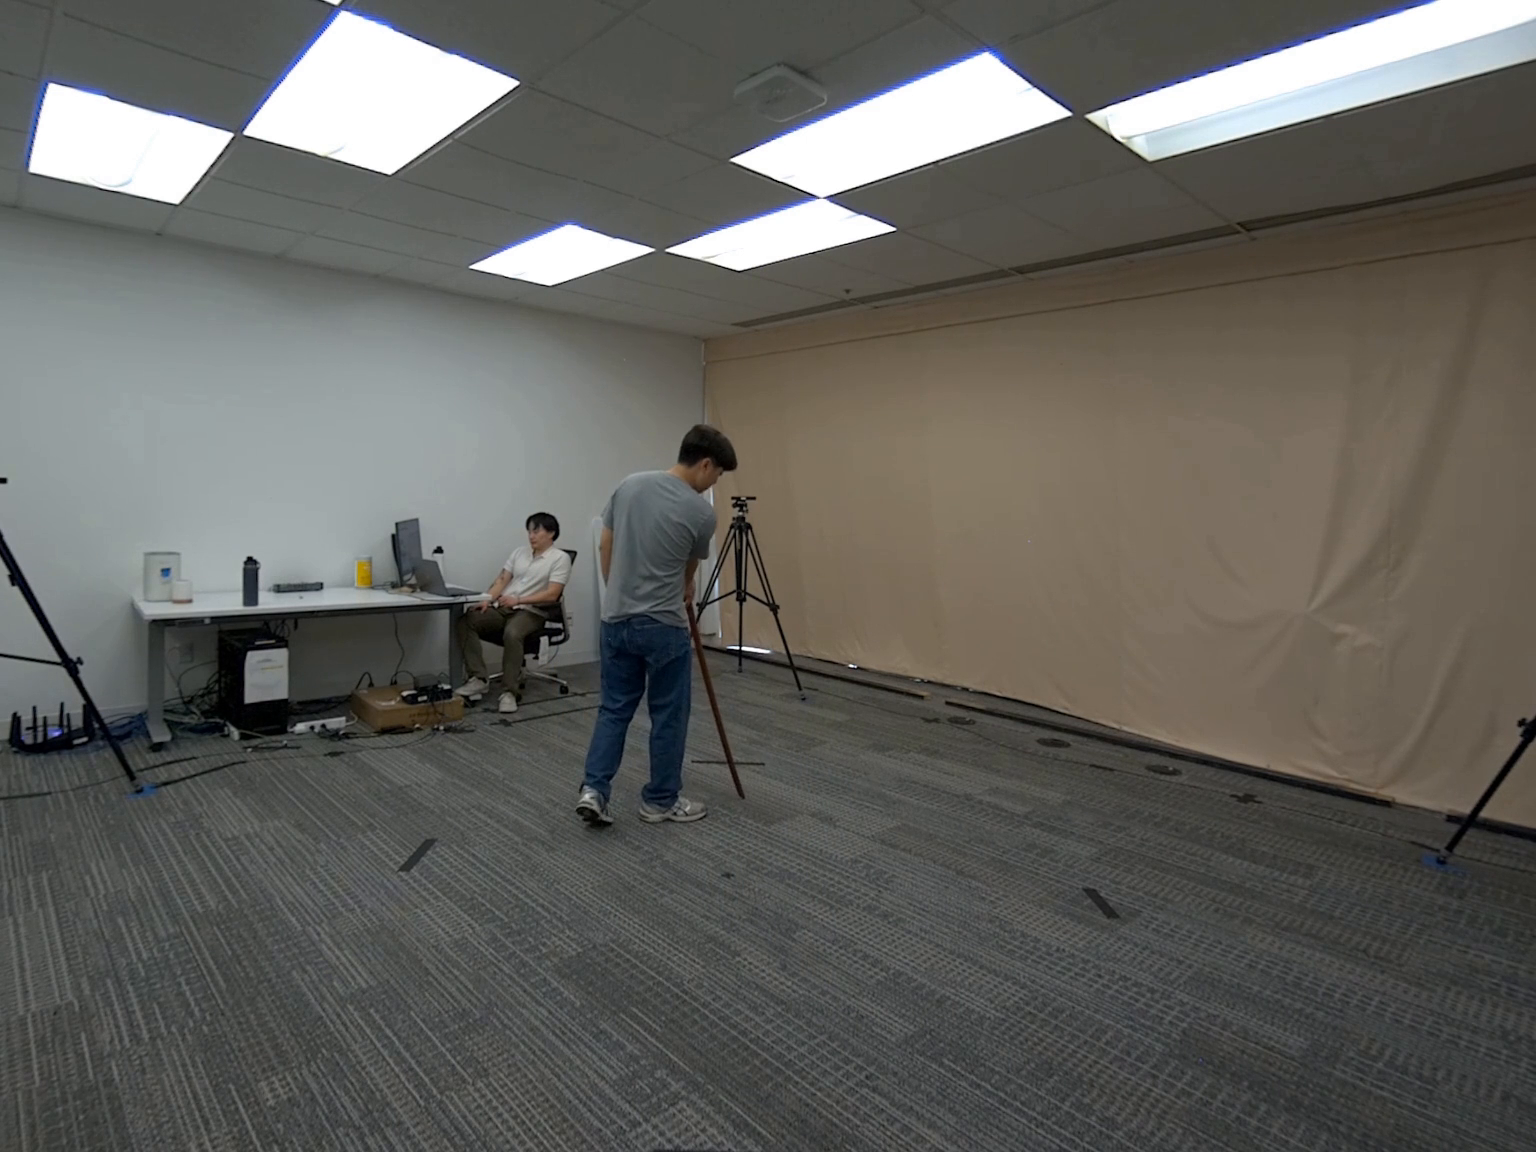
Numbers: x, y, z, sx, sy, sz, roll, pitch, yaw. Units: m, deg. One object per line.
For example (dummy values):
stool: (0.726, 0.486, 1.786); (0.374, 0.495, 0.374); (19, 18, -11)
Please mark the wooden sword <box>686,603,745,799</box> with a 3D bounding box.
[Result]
wooden sword: (-0.260, 0.554, 3.937); (0.050, 1.026, 0.024); (-15, -2, -28)
